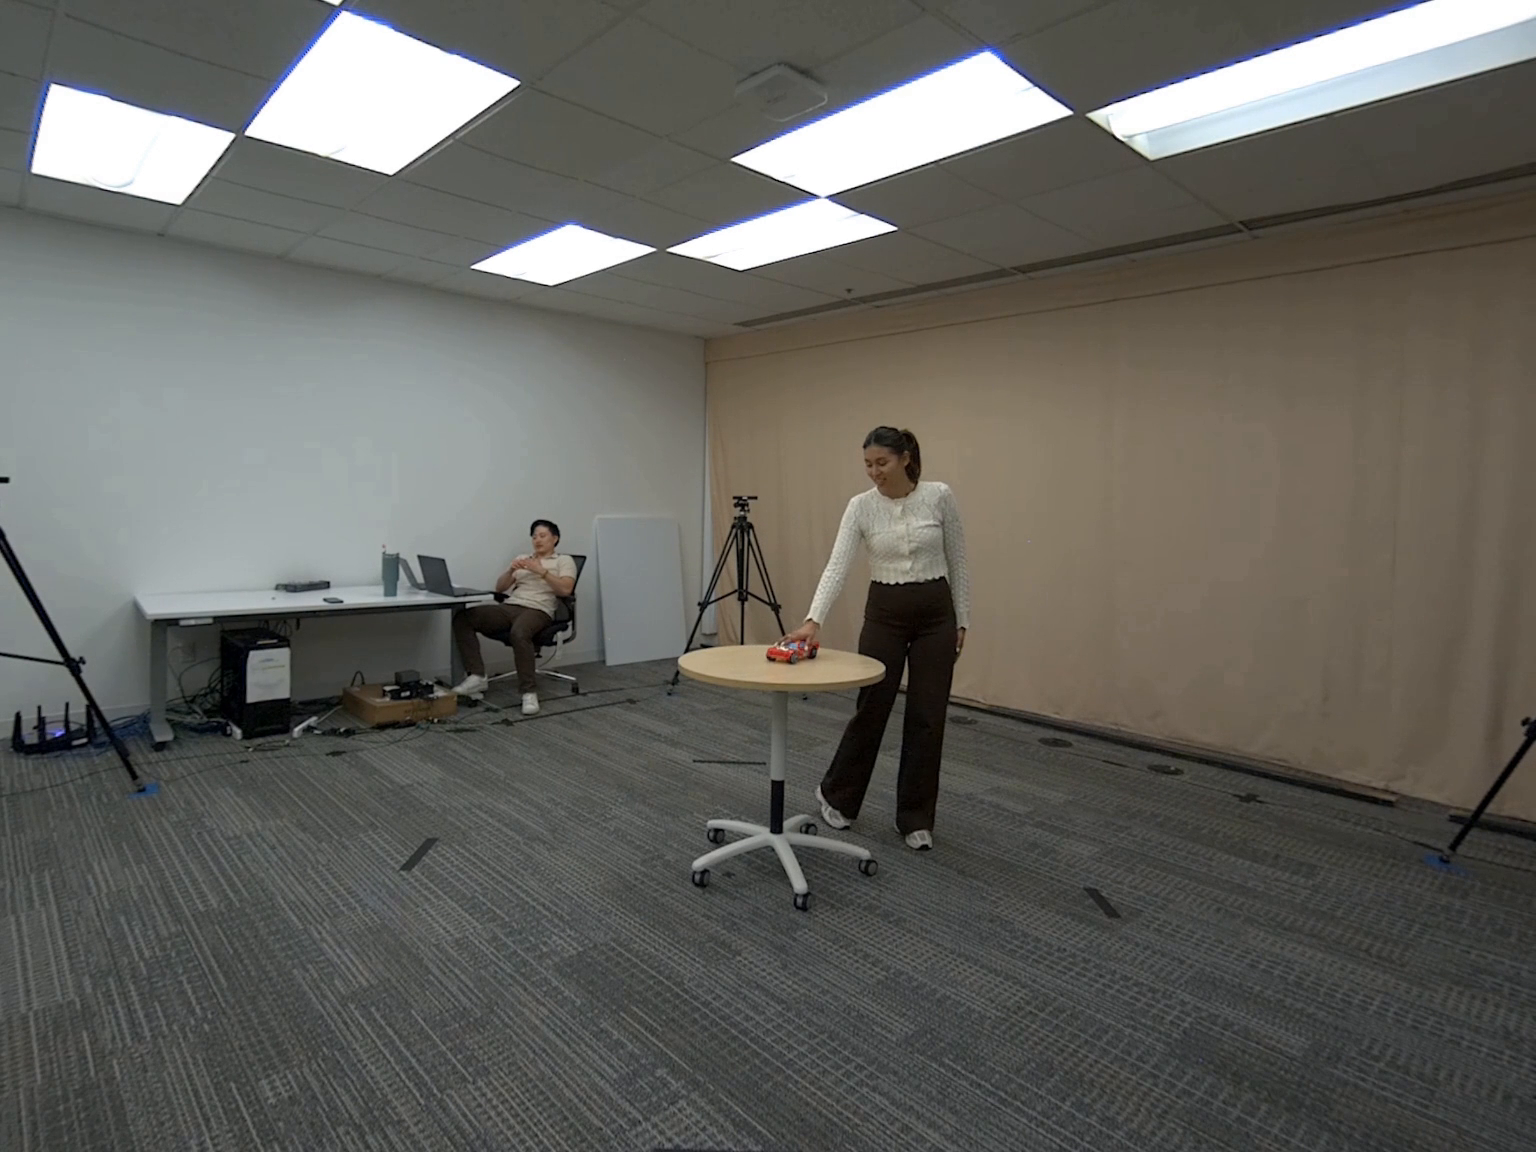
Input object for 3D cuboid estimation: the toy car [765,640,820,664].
[{"bbox_3d":[0.098,0.285,3.198,0.133,0.082,0.251,3,16,33],"label":"toy car"}]
